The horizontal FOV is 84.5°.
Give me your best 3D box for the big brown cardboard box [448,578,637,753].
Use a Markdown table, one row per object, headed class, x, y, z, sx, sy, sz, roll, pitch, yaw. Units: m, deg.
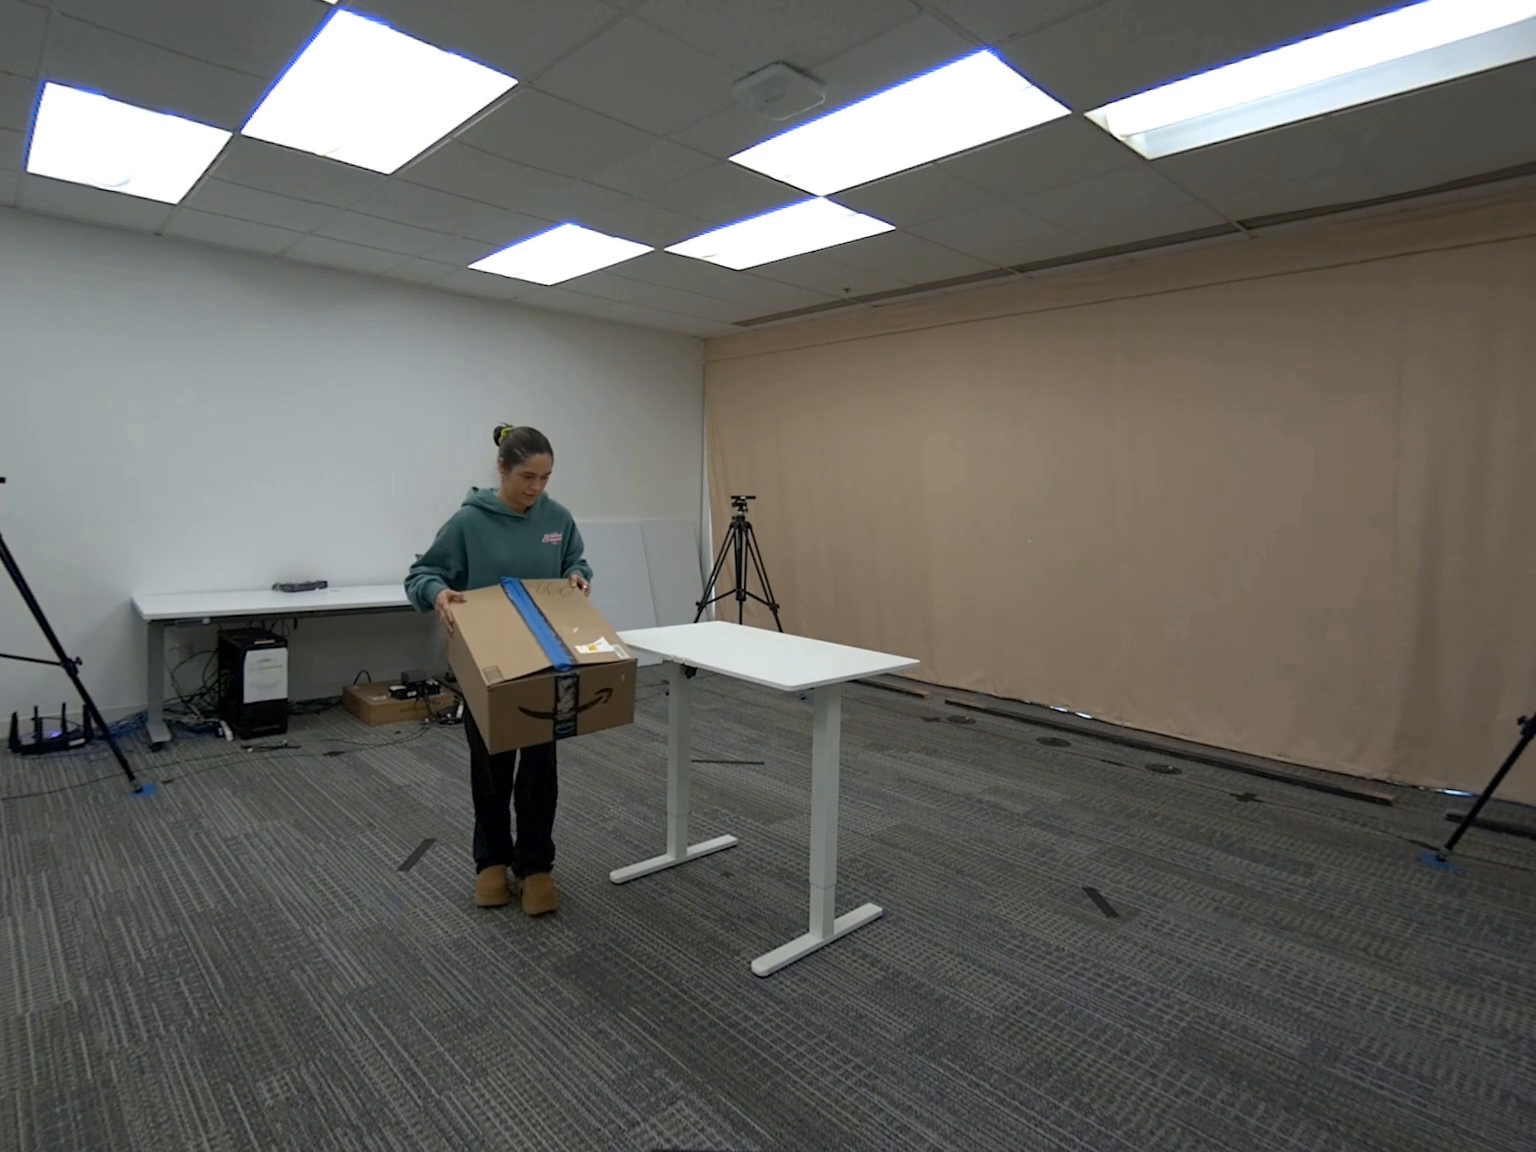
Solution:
| class | x | y | z | sx | sy | sz | roll | pitch | yaw |
| --- | --- | --- | --- | --- | --- | --- | --- | --- | --- |
| big brown cardboard box | -0.695 | 0.246 | 2.495 | 0.410 | 0.230 | 0.607 | -9 | 26 | -29 |
